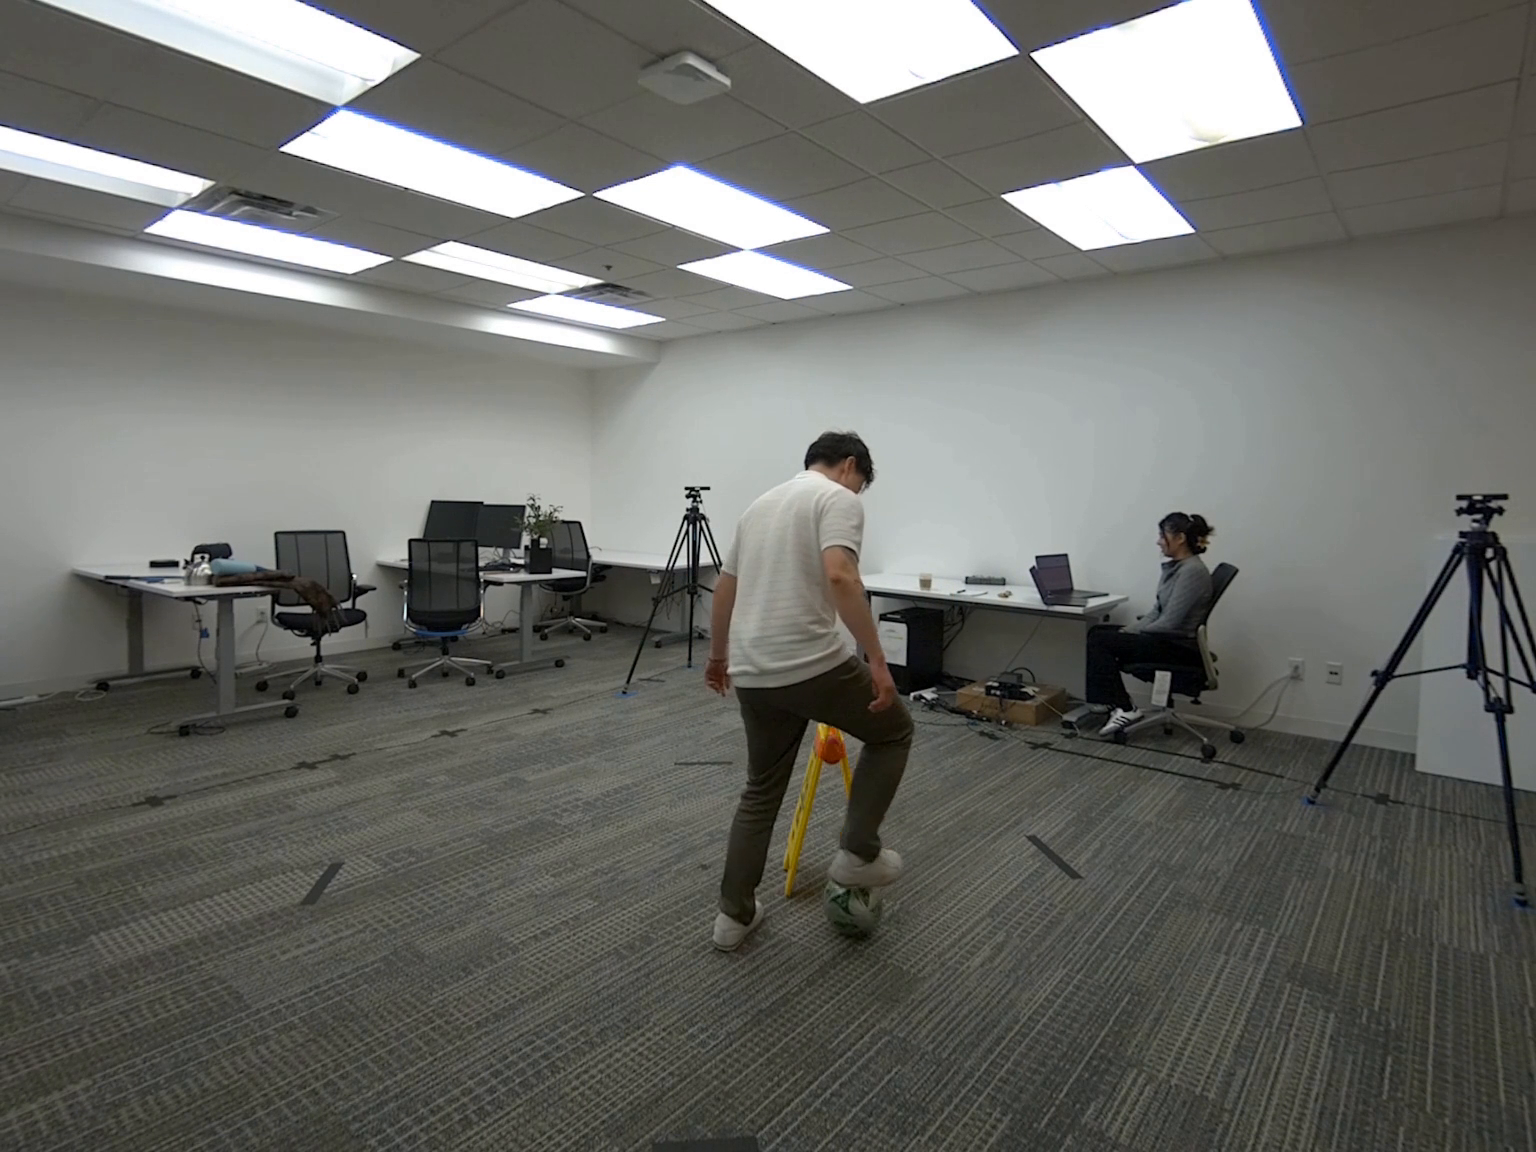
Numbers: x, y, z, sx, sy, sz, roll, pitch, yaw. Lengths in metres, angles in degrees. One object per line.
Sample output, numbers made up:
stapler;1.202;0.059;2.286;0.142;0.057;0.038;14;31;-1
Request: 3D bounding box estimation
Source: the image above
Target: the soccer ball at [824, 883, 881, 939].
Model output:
soccer ball;0.256;1.031;2.661;0.187;0.187;0.188;0;4;-2
